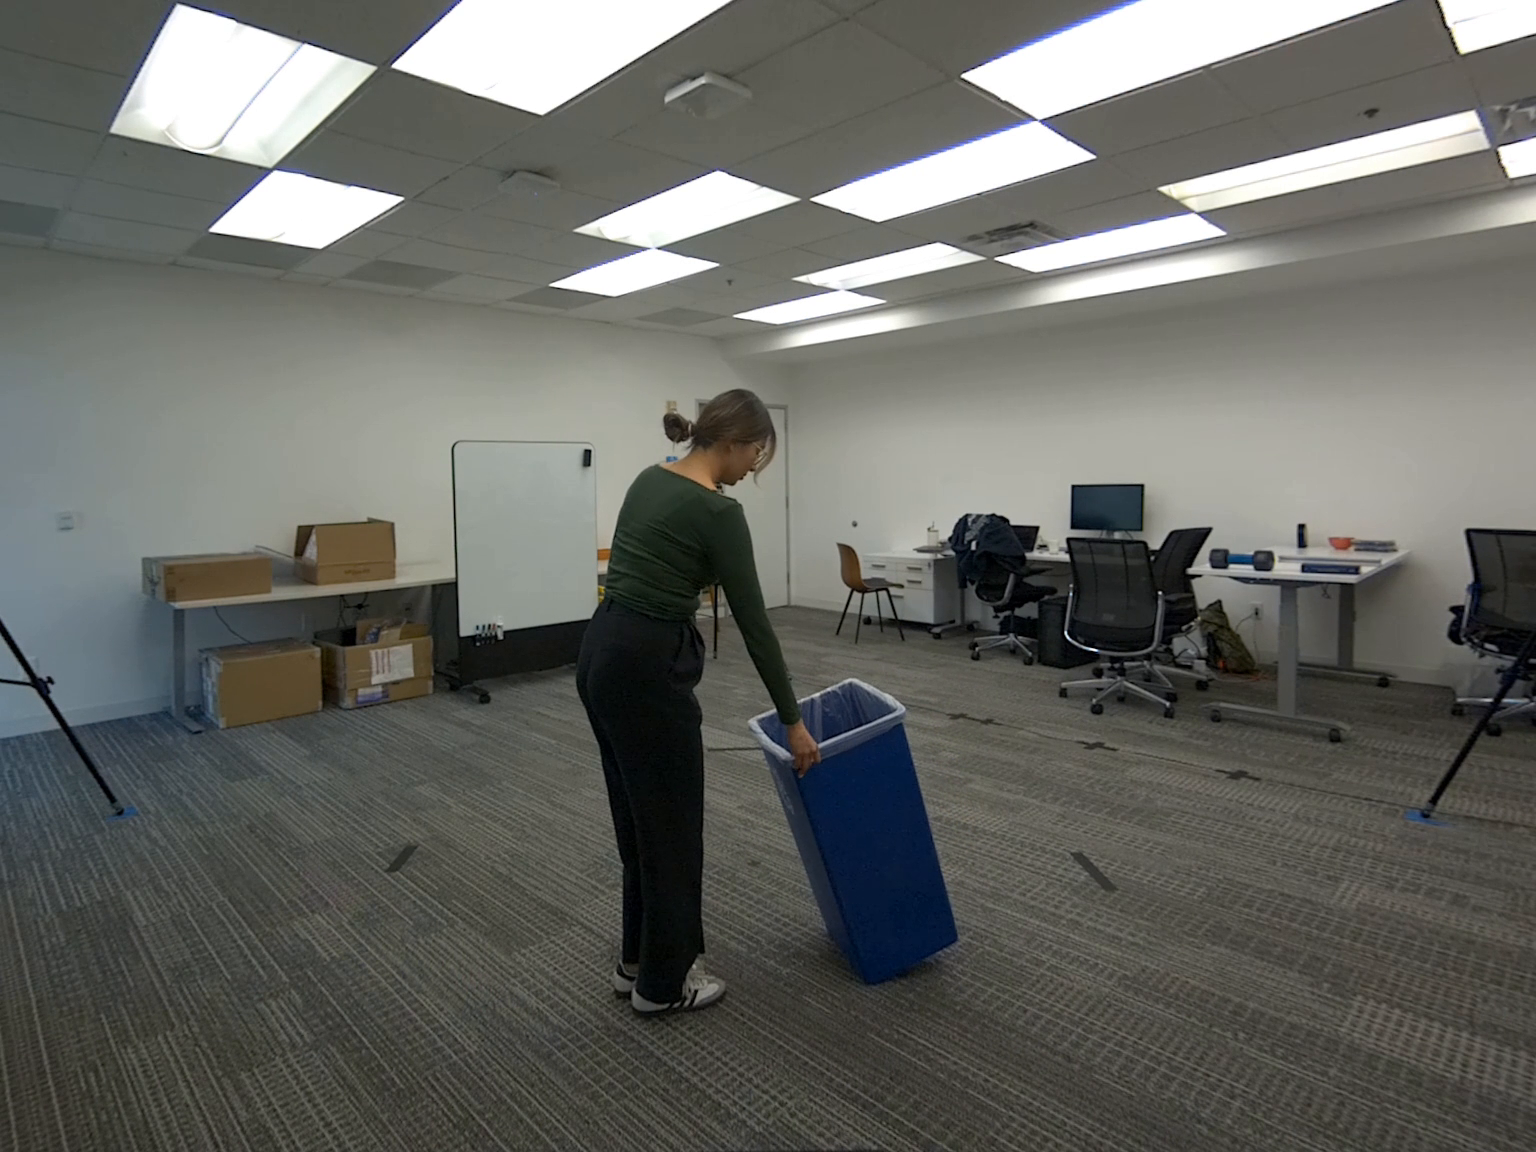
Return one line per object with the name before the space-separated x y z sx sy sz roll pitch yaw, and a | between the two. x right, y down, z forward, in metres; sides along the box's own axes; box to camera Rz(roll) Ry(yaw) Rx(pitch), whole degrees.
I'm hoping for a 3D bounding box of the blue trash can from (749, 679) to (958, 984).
blue trash can | 0.265 0.727 2.472 0.371 0.706 0.385 -20 10 -14
